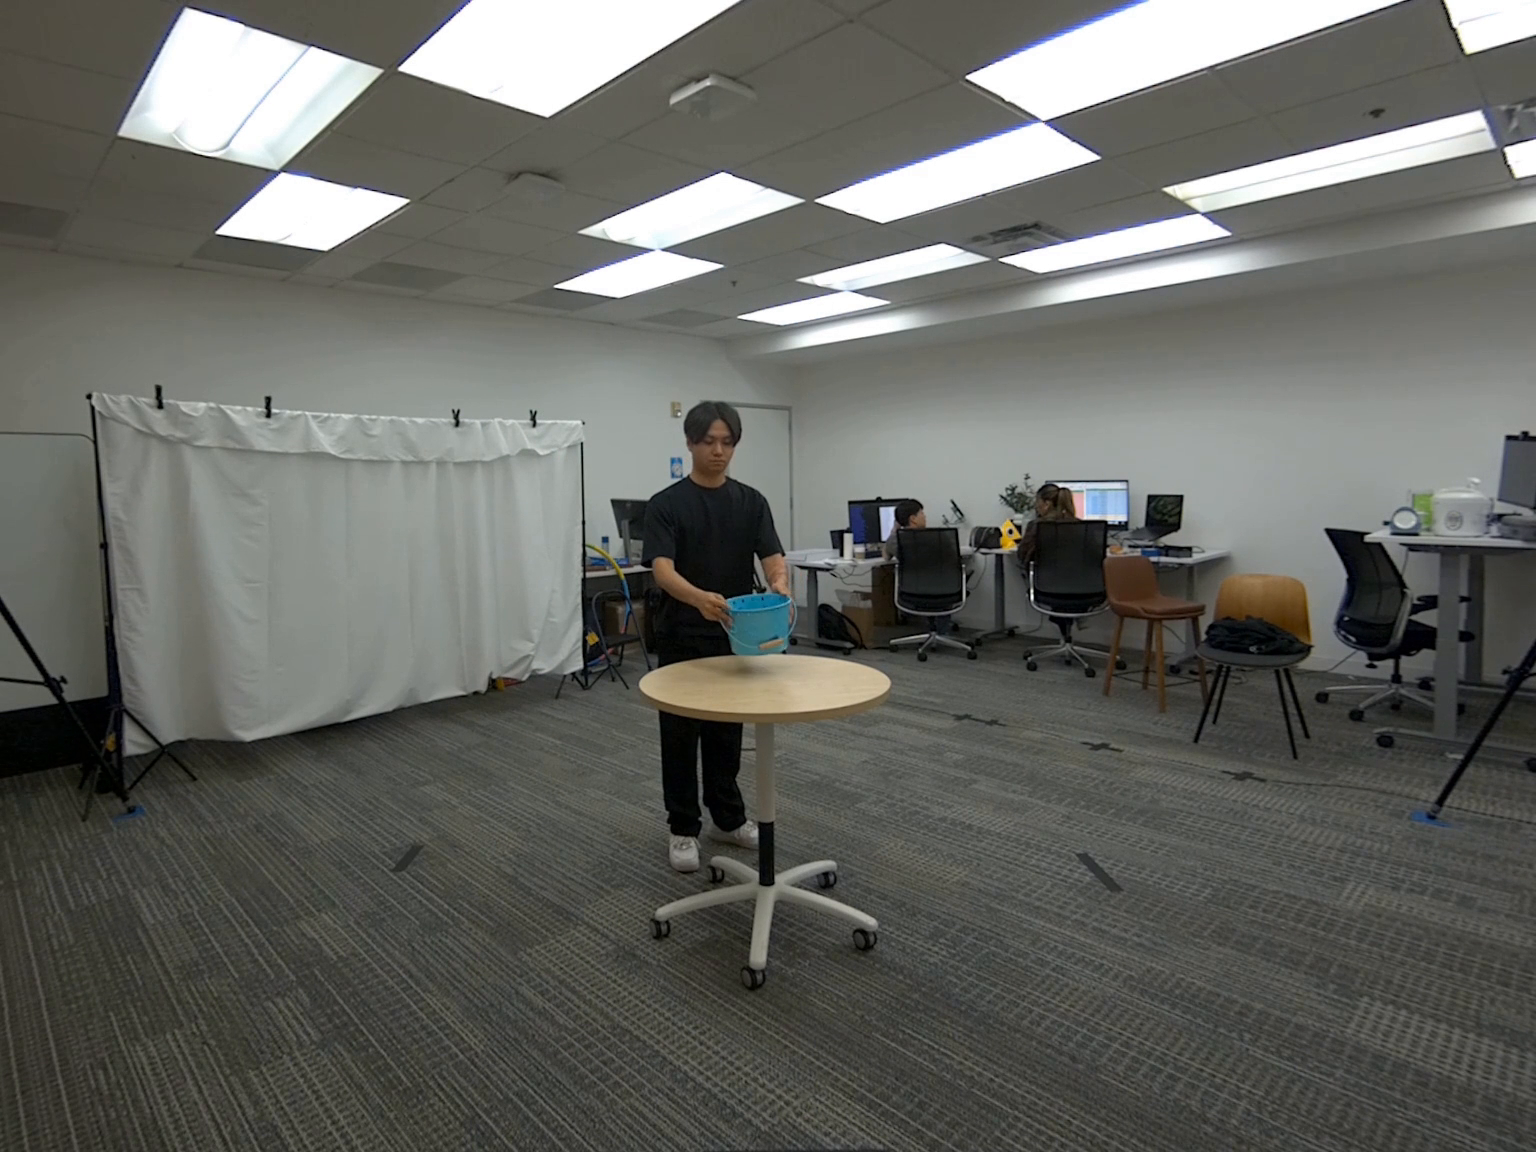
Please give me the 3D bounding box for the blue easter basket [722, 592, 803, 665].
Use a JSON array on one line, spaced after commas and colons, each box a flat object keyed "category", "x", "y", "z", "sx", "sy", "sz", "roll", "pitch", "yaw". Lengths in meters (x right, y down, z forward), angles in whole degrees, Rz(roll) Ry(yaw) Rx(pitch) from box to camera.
[{"category": "blue easter basket", "x": -0.030, "y": 0.161, "z": 2.722, "sx": 0.243, "sy": 0.154, "sz": 0.246, "roll": -4, "pitch": 10, "yaw": -1}]
